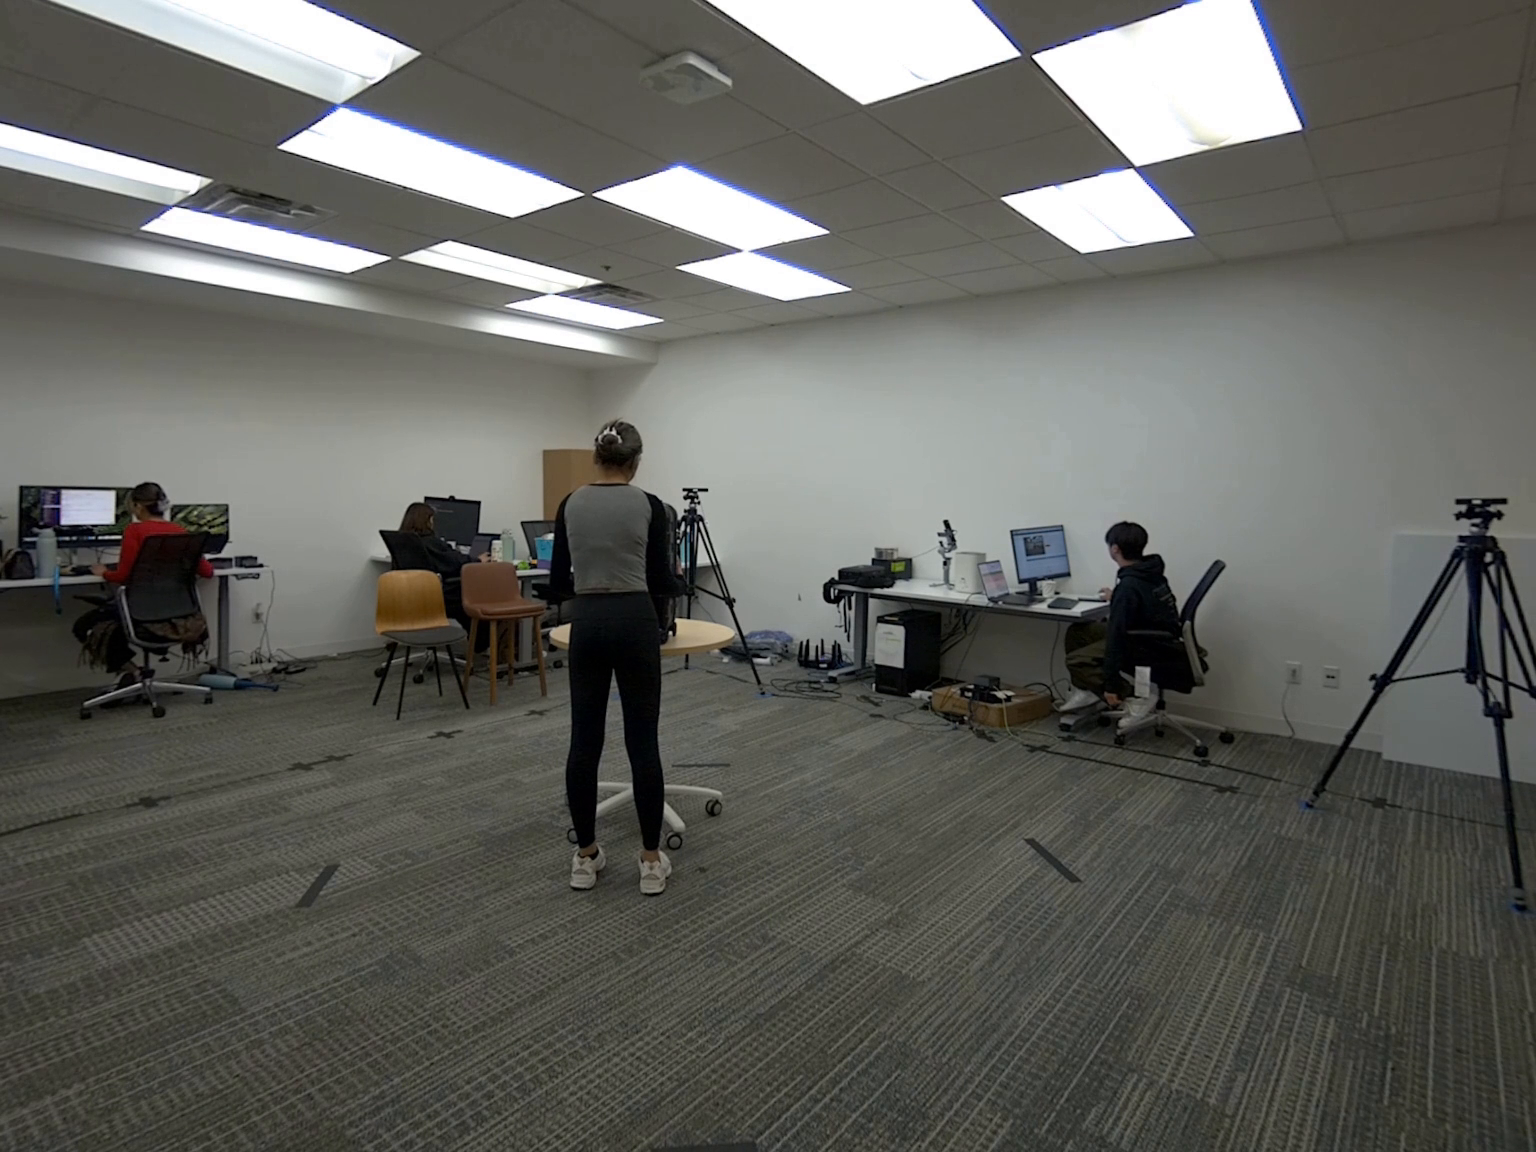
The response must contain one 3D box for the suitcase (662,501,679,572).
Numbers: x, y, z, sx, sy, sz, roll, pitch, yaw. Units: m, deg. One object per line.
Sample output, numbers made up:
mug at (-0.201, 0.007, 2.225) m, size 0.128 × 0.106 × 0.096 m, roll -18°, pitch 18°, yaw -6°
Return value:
suitcase at (-0.544, -0.033, 3.380) m, size 0.378 × 0.548 × 0.247 m, roll 2°, pitch 2°, yaw 6°
